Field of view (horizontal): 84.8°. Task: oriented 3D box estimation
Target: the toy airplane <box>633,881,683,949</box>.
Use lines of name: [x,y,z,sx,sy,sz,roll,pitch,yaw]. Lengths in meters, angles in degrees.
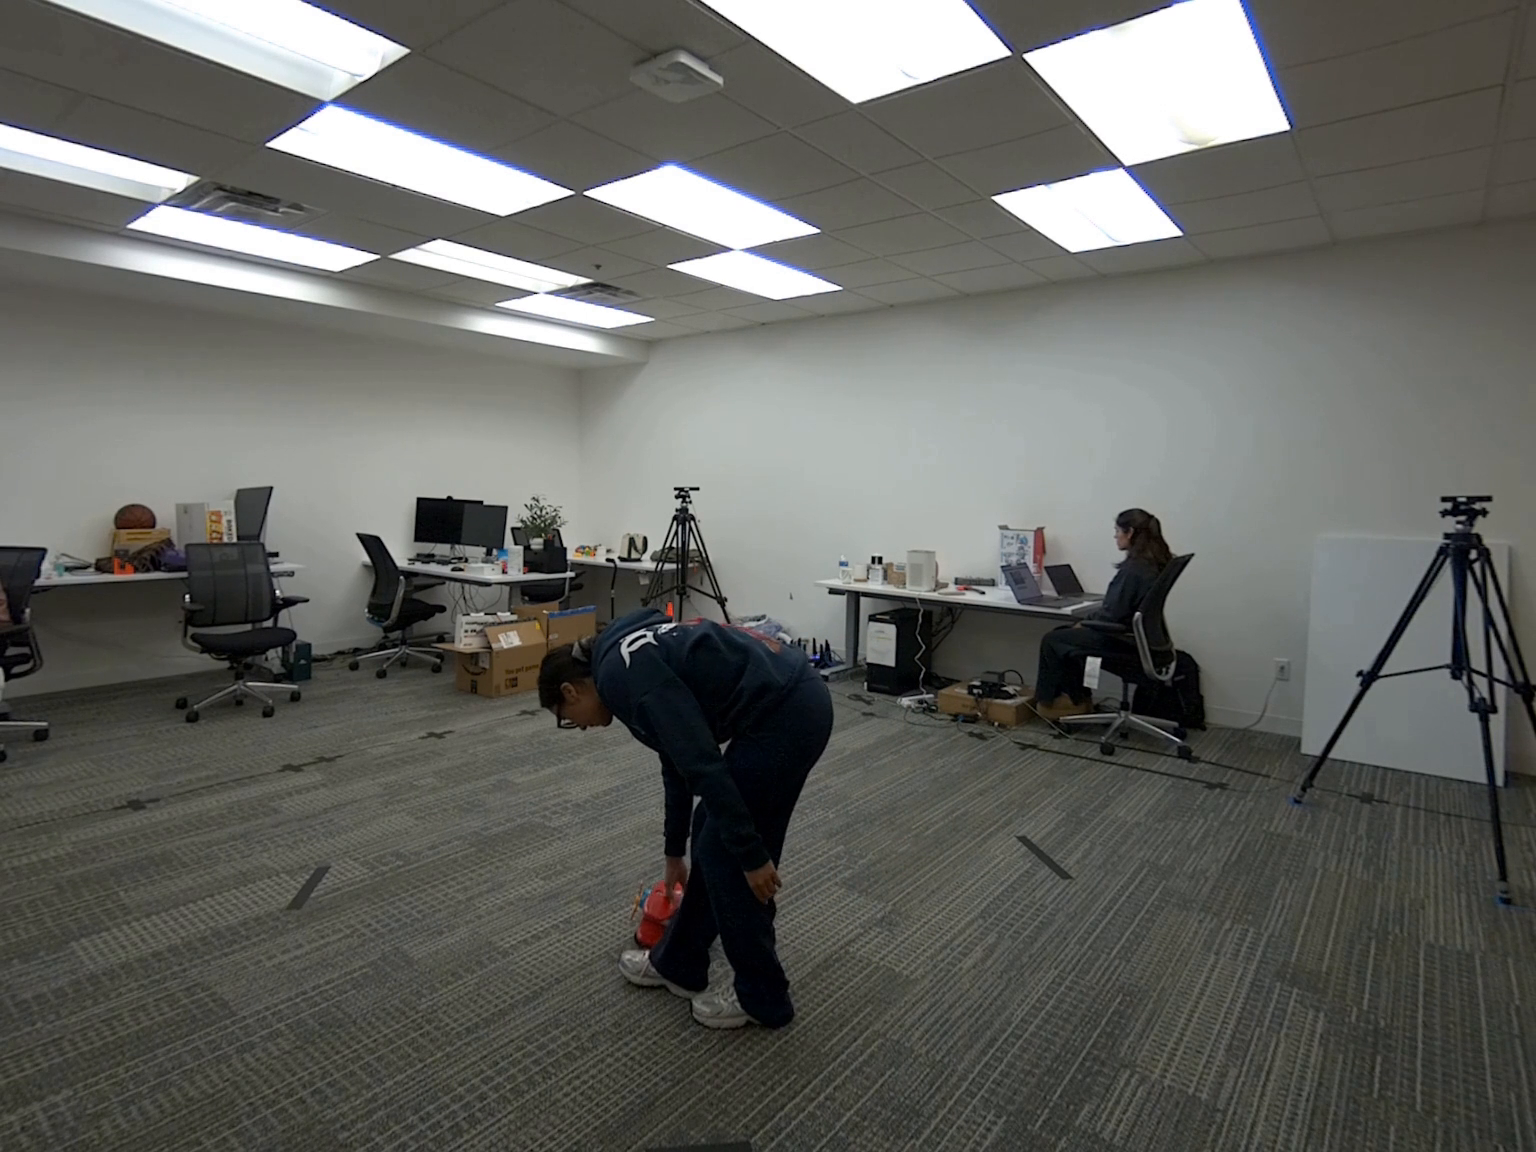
toy airplane: [-0.290,1.039,2.616,0.256,0.156,0.255,0,5,-13]
